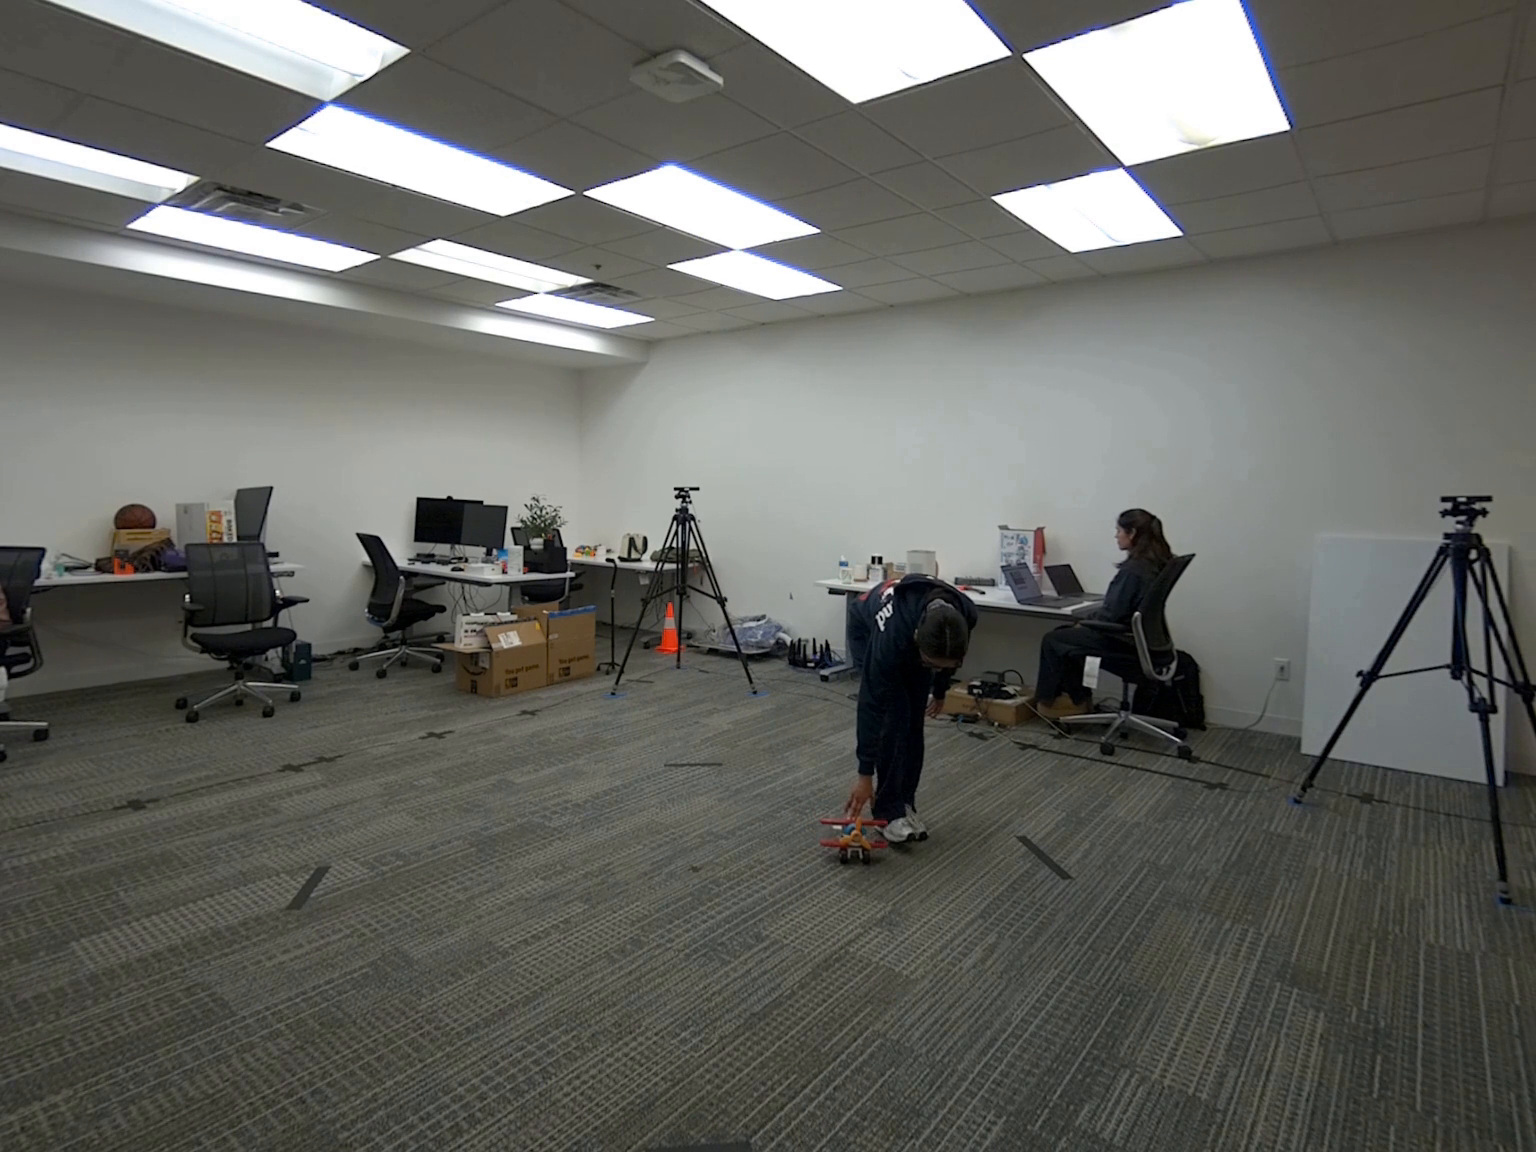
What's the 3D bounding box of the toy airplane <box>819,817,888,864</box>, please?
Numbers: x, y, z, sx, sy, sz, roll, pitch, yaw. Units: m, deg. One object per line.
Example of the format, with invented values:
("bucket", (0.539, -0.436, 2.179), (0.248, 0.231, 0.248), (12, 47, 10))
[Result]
("toy airplane", (0.295, 0.988, 3.261), (0.245, 0.156, 0.267), (-1, 5, -27))
